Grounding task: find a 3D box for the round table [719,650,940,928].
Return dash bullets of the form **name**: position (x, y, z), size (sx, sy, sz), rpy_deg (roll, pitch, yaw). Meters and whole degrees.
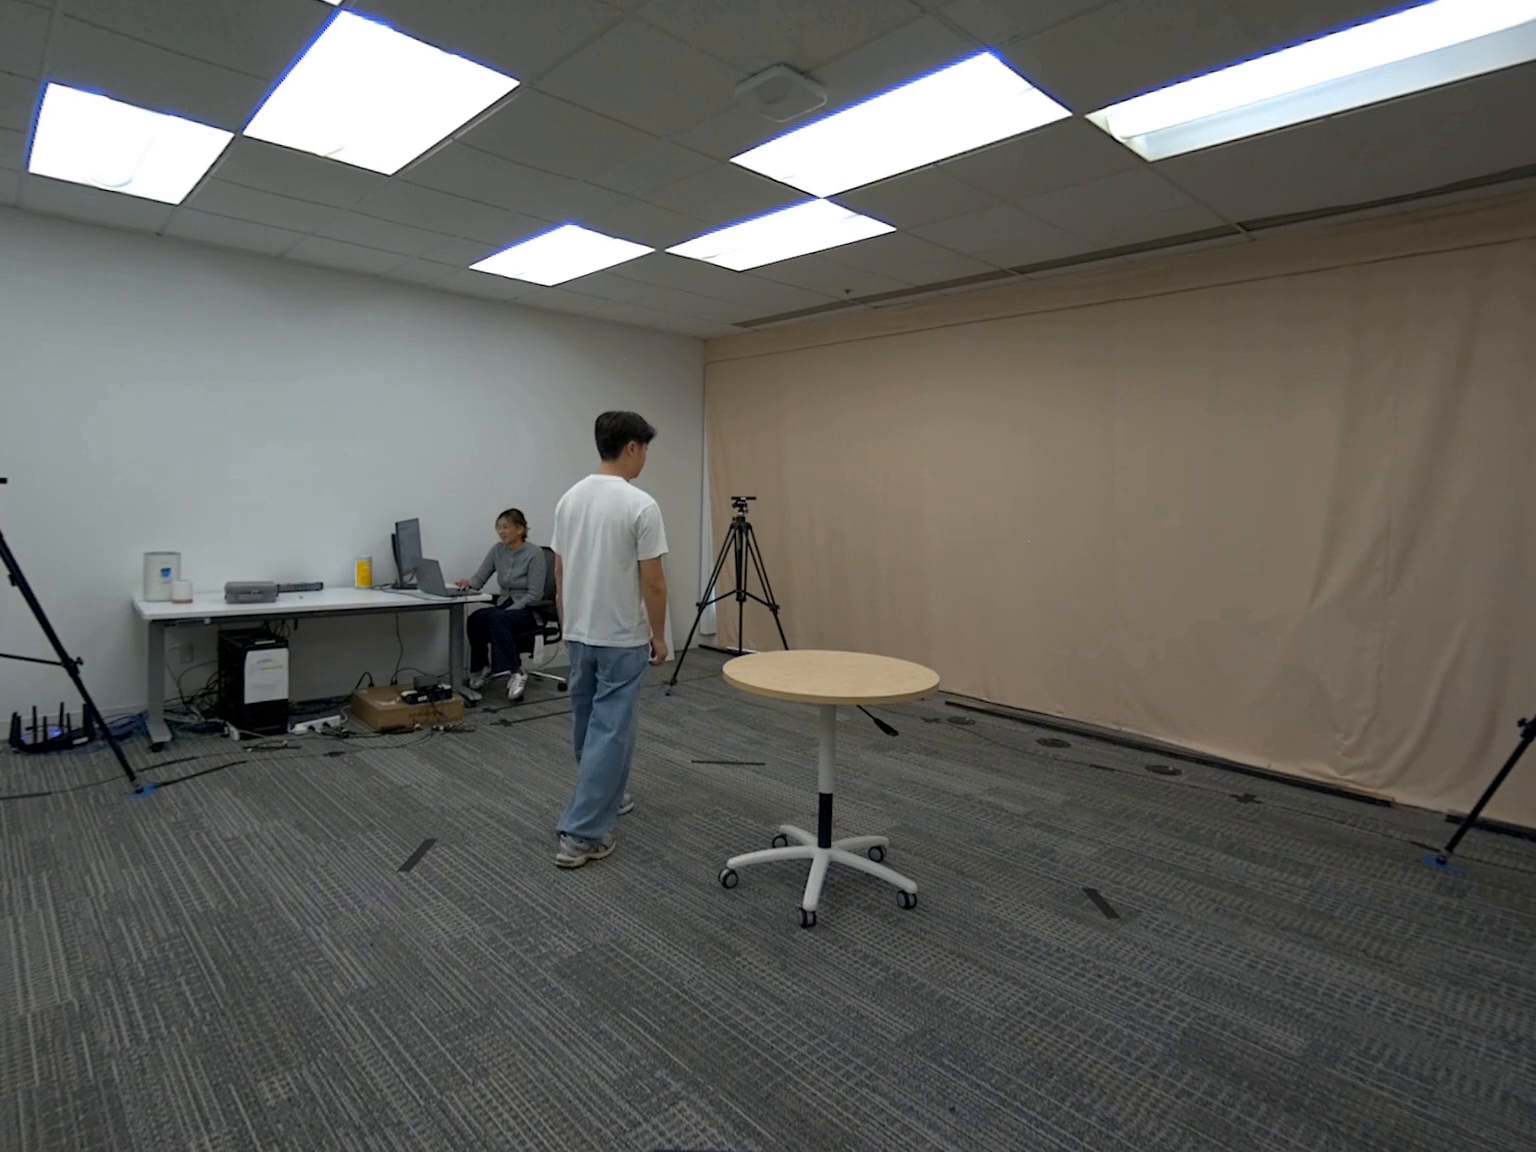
- **round table**: position (0.203, 0.733, 3.025), size (0.763, 0.792, 0.767), rpy_deg (1, 4, -1)
